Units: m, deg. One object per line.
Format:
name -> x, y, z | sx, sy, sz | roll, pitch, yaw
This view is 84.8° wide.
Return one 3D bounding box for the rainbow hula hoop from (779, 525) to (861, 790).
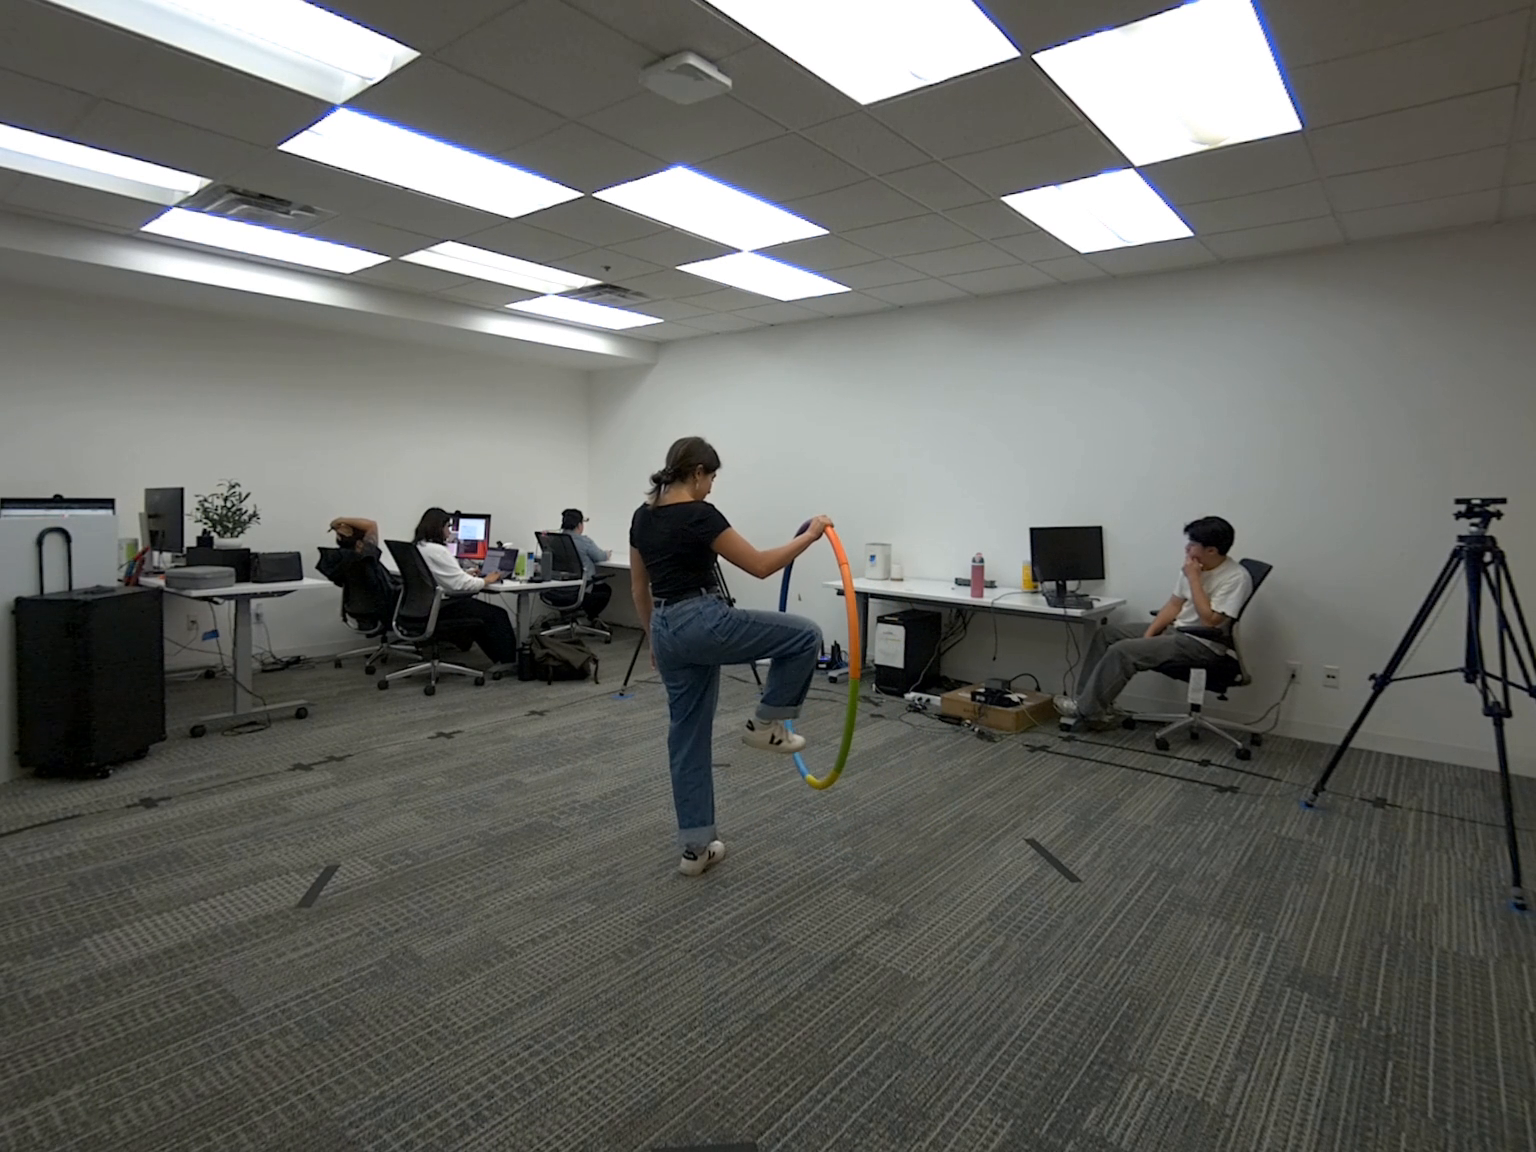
rainbow hula hoop -> 0.172, 0.269, 3.173 | 0.035, 0.976, 0.994 | 2, 4, -13
